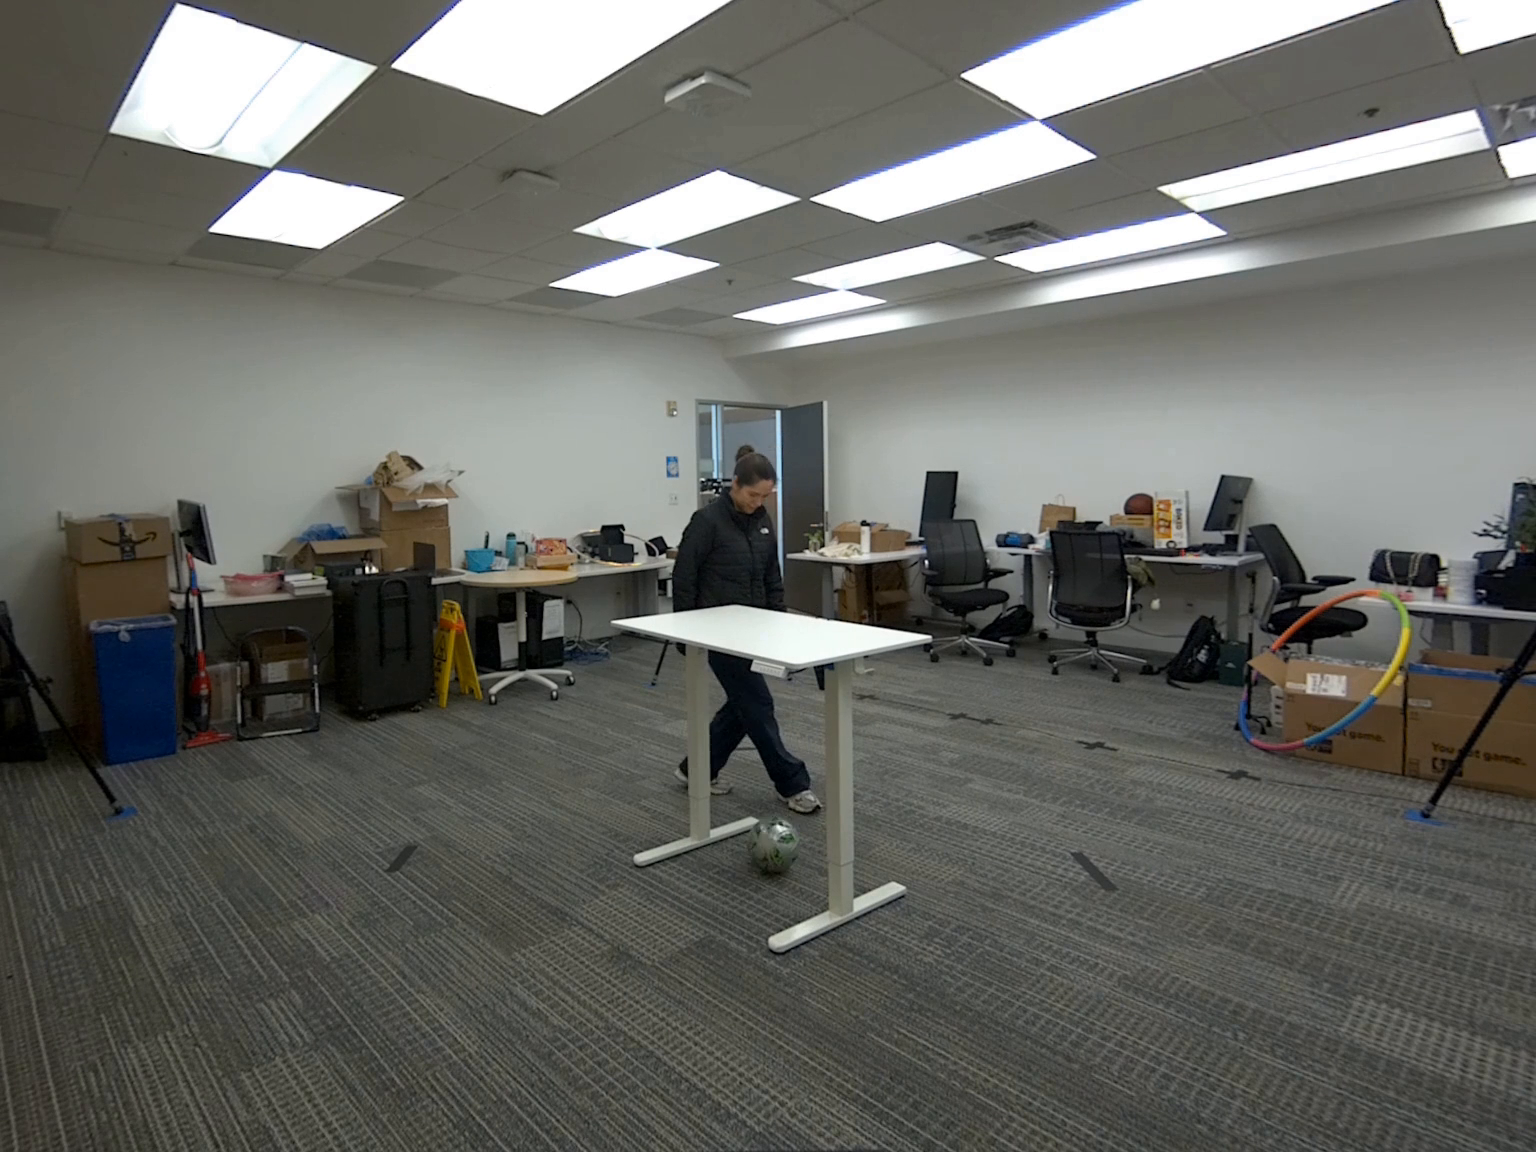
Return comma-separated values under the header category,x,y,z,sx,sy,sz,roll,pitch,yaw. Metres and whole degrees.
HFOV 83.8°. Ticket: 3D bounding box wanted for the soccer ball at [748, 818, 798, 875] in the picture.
category,x,y,z,sx,sy,sz,roll,pitch,yaw
soccer ball,0.018,0.962,3.042,0.187,0.187,0.188,-1,5,-2
